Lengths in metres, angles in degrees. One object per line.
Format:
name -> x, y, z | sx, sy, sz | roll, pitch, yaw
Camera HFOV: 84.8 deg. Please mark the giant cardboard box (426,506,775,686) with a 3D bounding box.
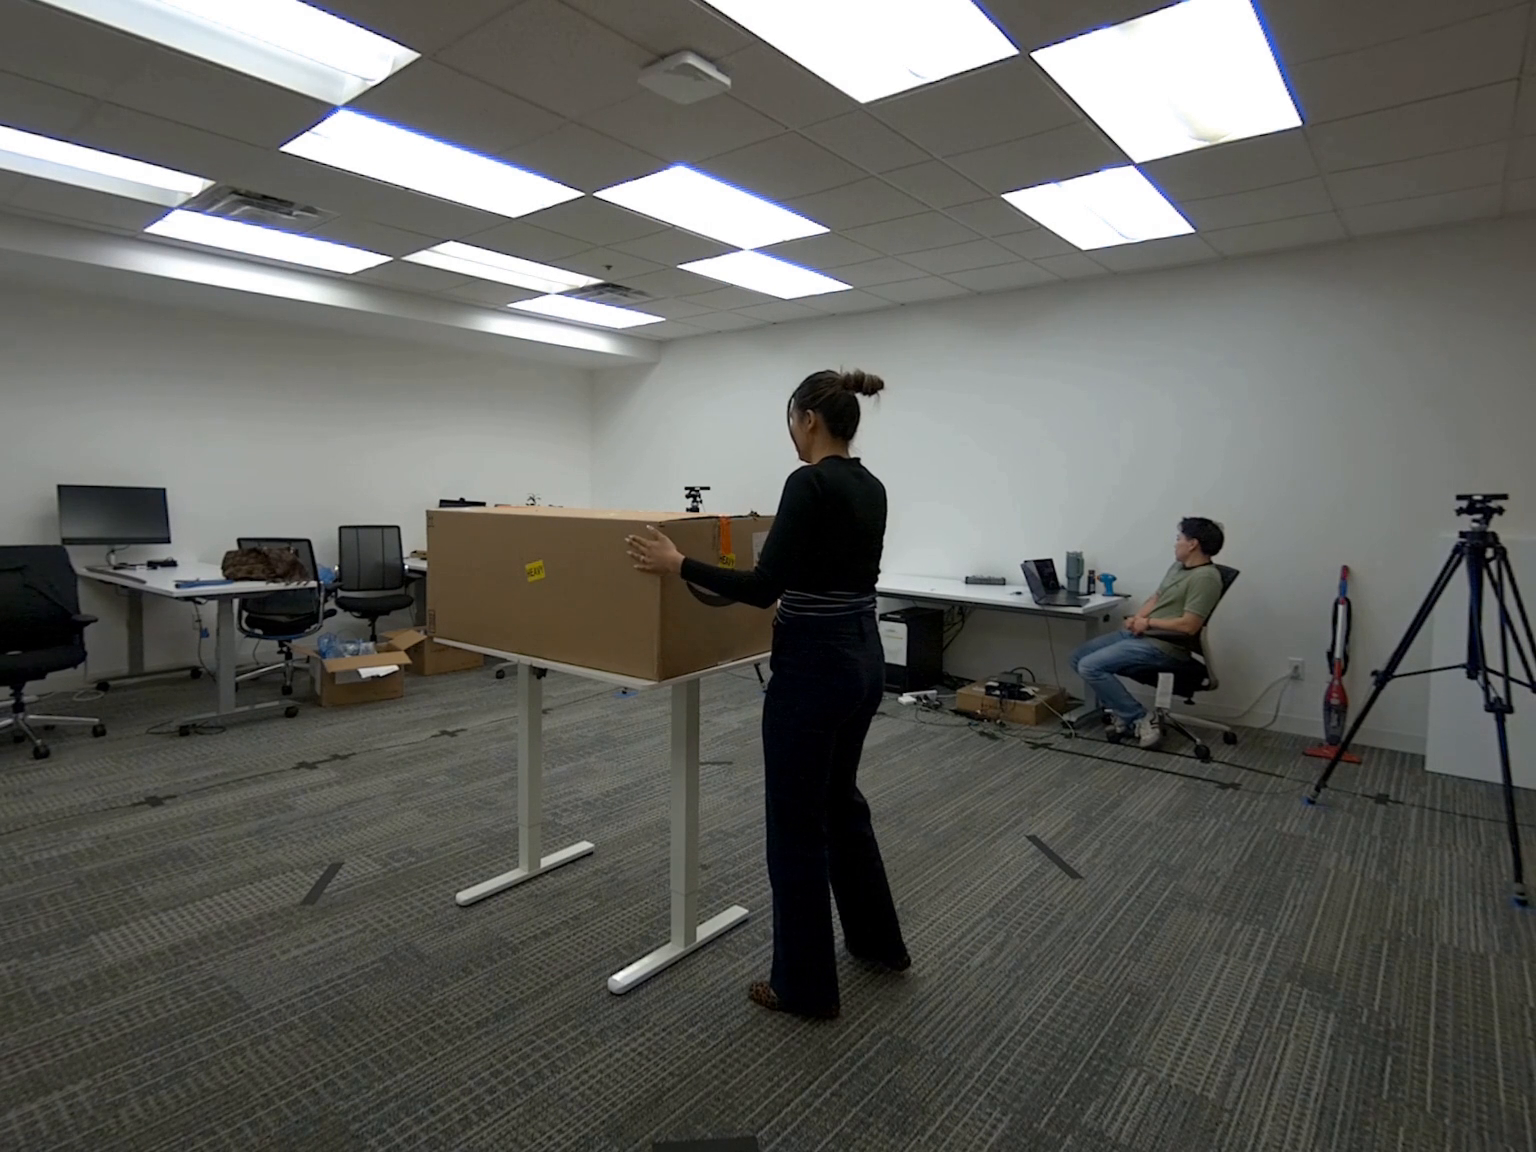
giant cardboard box -> -0.556, 0.004, 2.743 | 1.060, 0.424, 0.561 | 5, 7, 36
